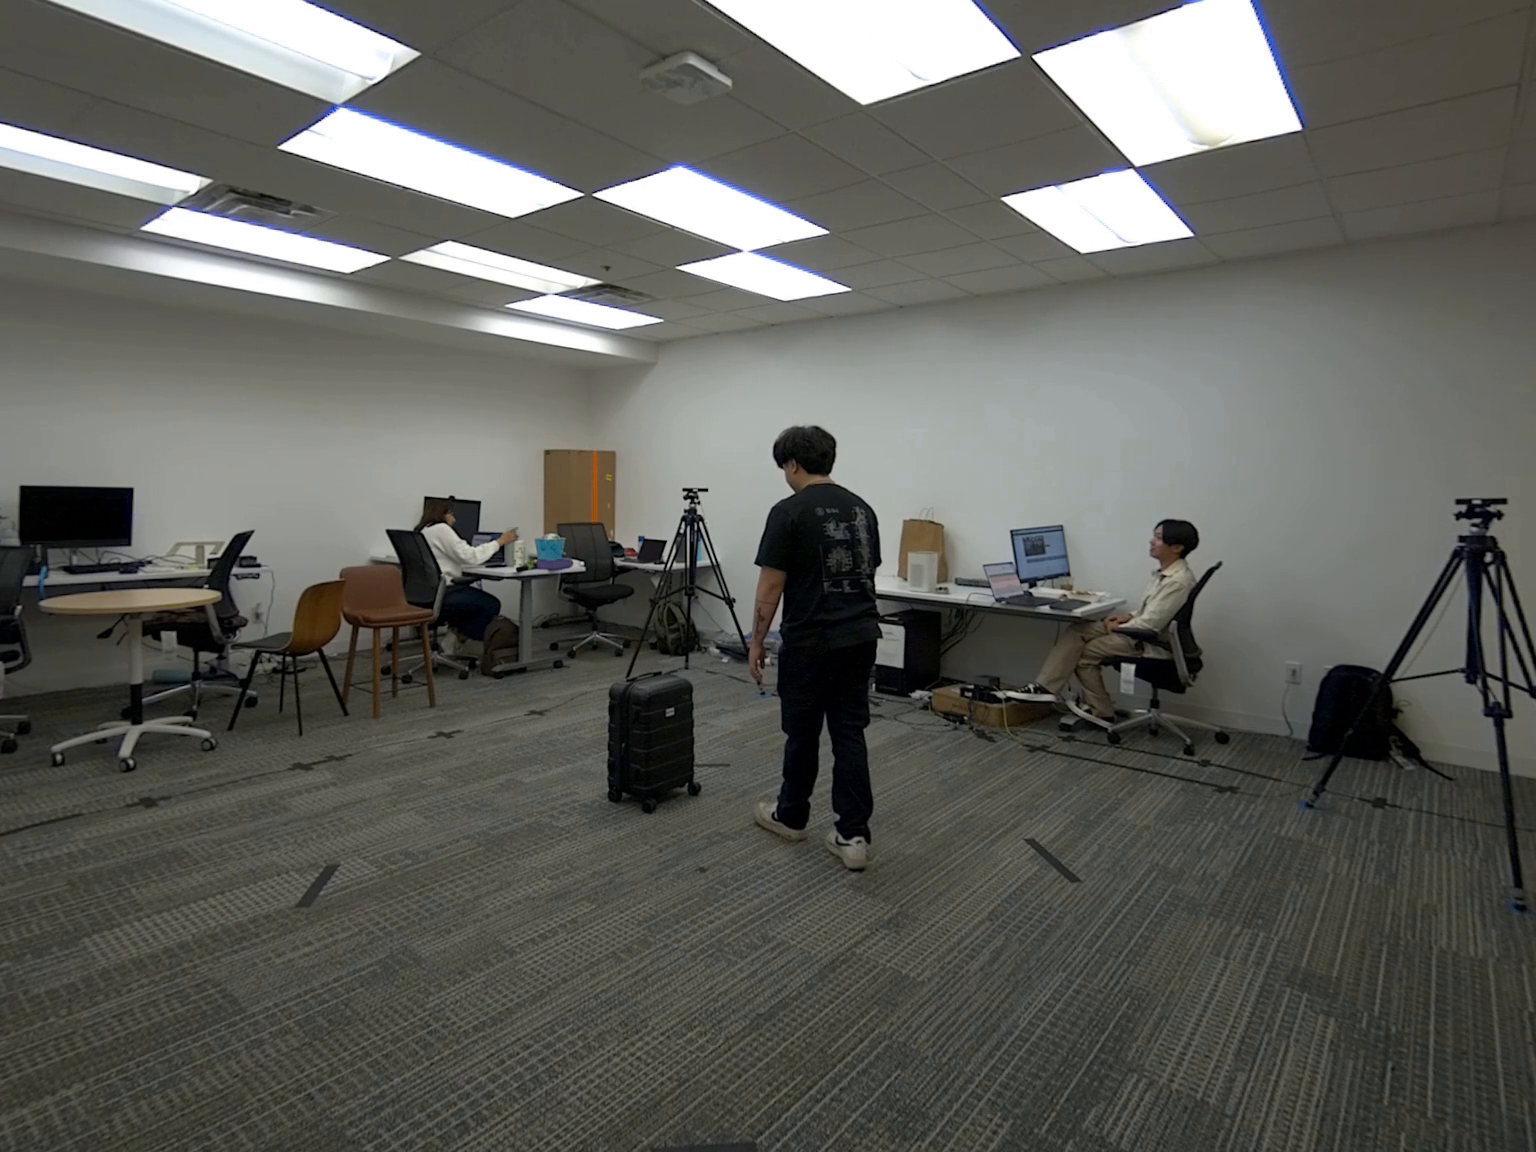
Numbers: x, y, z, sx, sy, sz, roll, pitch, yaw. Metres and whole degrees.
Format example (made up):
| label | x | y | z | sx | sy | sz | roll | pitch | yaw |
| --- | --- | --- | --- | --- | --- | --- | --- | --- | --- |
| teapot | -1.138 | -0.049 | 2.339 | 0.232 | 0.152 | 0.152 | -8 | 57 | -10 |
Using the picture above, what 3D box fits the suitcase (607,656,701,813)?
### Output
| label | x | y | z | sx | sy | sz | roll | pitch | yaw |
| --- | --- | --- | --- | --- | --- | --- | --- | --- | --- |
| suitcase | -0.533 | 0.718 | 3.835 | 0.256 | 0.548 | 0.364 | 1 | 3 | 39 |
